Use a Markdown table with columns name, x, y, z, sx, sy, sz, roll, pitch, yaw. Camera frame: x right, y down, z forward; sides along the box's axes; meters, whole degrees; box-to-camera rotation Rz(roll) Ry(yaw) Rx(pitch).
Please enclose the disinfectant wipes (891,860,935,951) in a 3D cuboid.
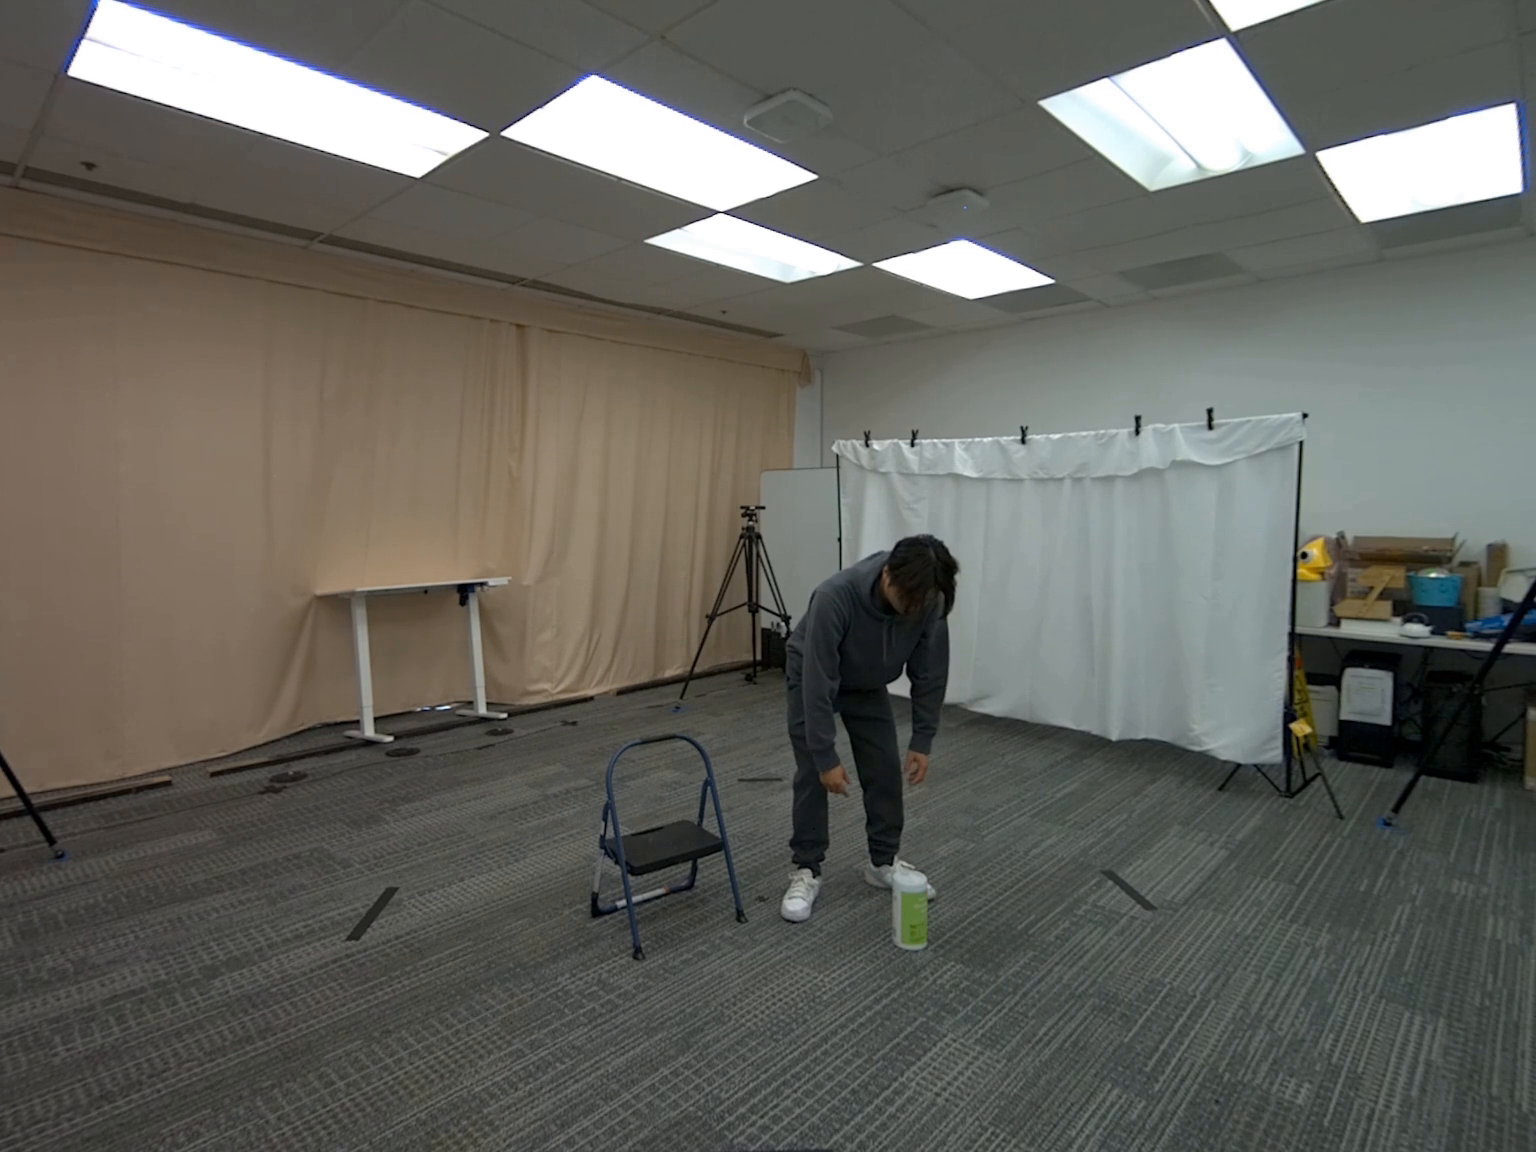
| name | x | y | z | sx | sy | sz | roll | pitch | yaw |
| --- | --- | --- | --- | --- | --- | --- | --- | --- | --- |
| disinfectant wipes | 0.452 | 1.058 | 2.677 | 0.117 | 0.217 | 0.118 | 2 | 4 | -2 |
